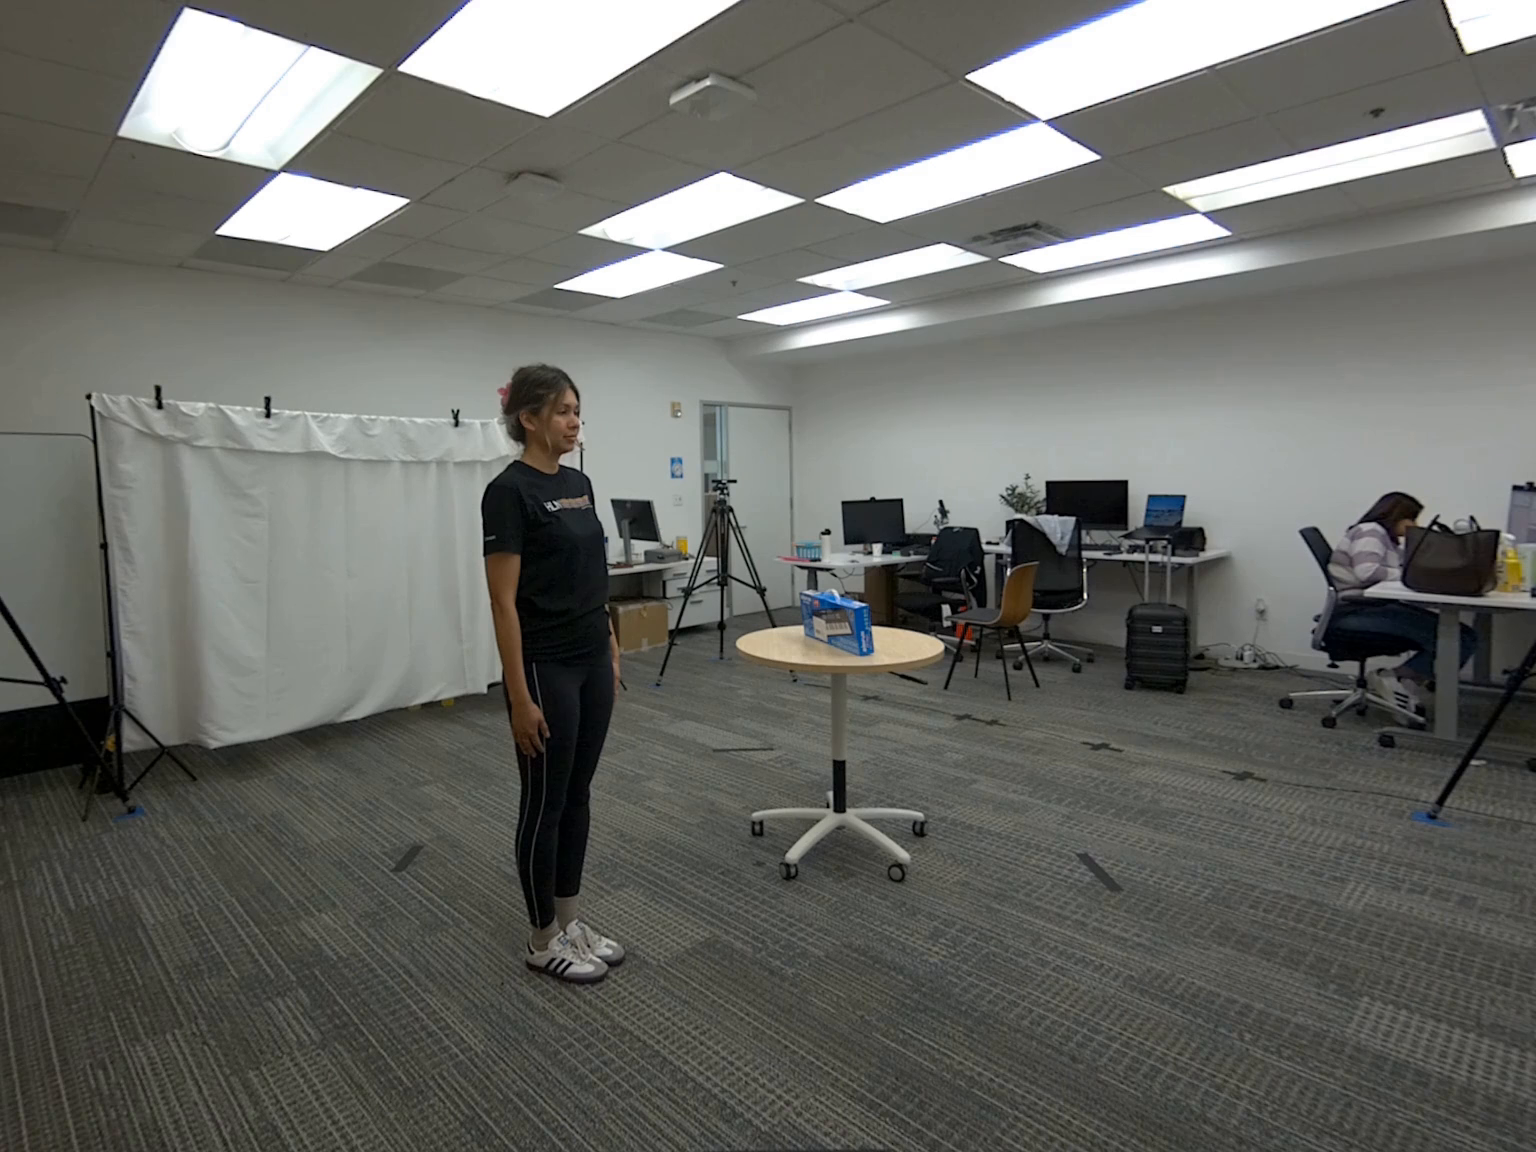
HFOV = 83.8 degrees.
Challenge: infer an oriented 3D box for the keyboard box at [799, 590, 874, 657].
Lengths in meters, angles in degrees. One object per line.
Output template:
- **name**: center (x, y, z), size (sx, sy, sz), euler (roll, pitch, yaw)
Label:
- **keyboard box**: center (0.247, 0.167, 3.147), size (0.058, 0.174, 0.447), euler (-10, 9, -21)
